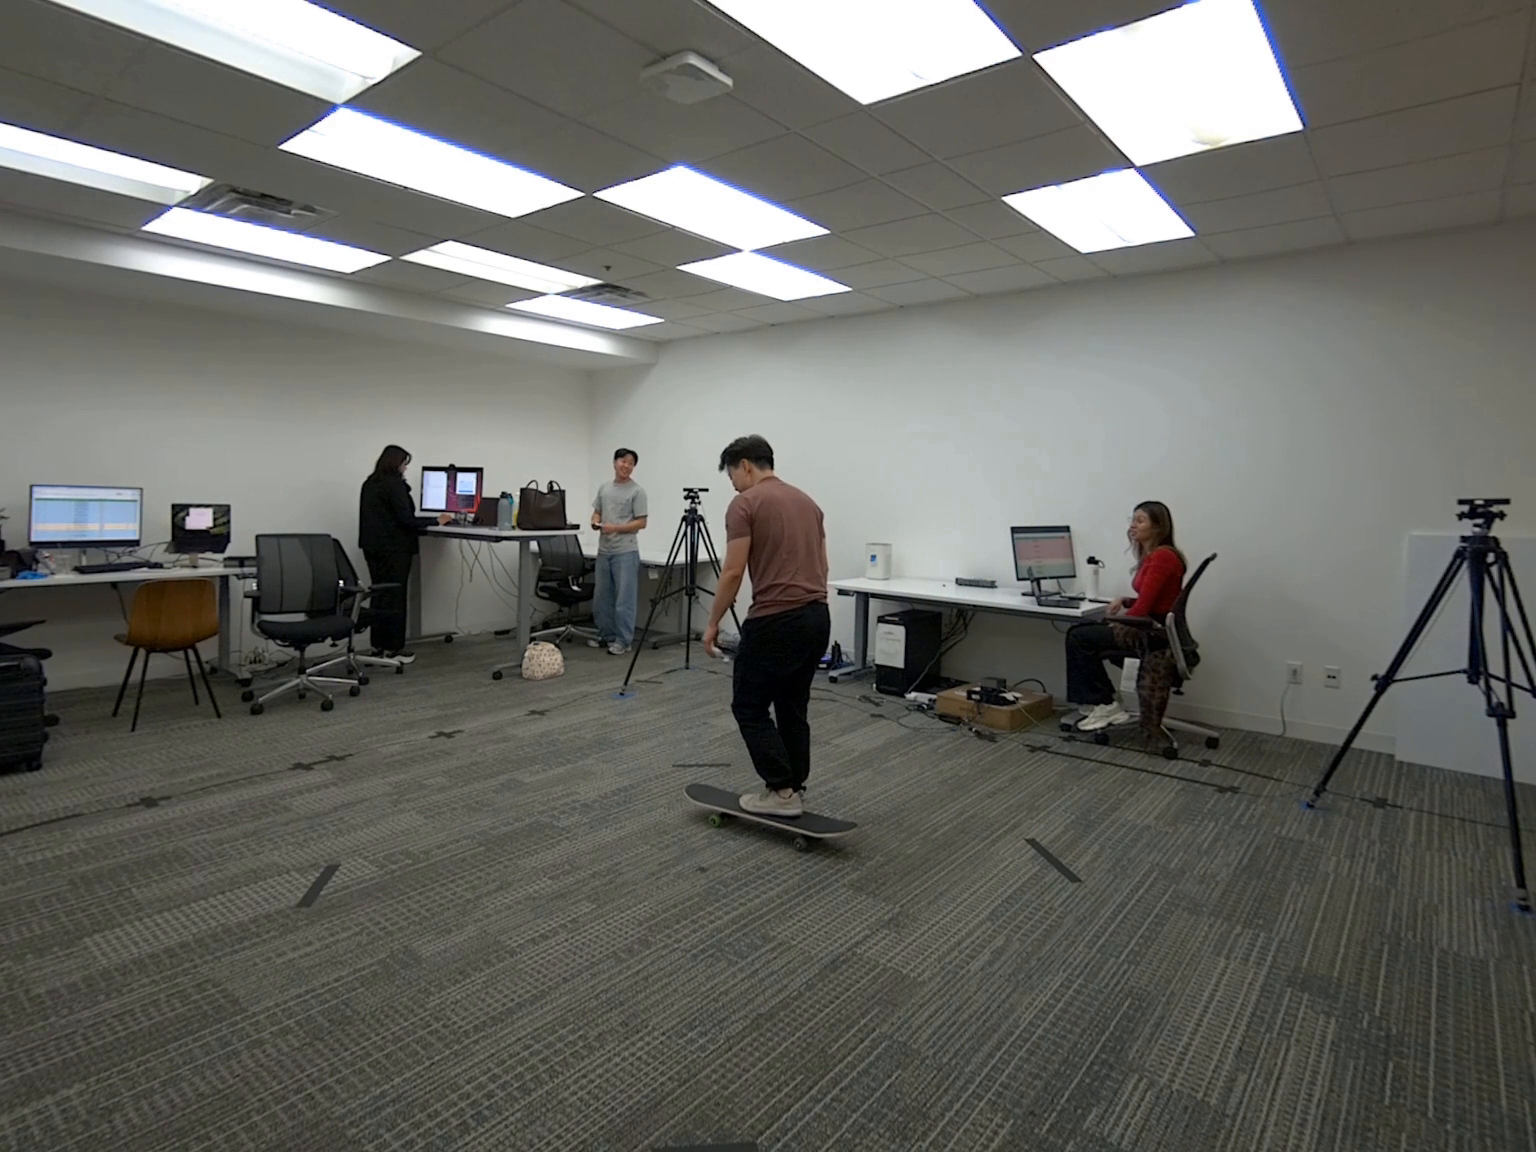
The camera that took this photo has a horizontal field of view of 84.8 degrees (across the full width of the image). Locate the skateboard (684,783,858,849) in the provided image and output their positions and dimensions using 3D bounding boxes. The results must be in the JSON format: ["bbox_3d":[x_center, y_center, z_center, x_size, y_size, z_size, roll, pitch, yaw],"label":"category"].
[{"bbox_3d":[-0.018,0.981,3.474,0.810,0.110,0.188,5,6,32],"label":"skateboard"}]
